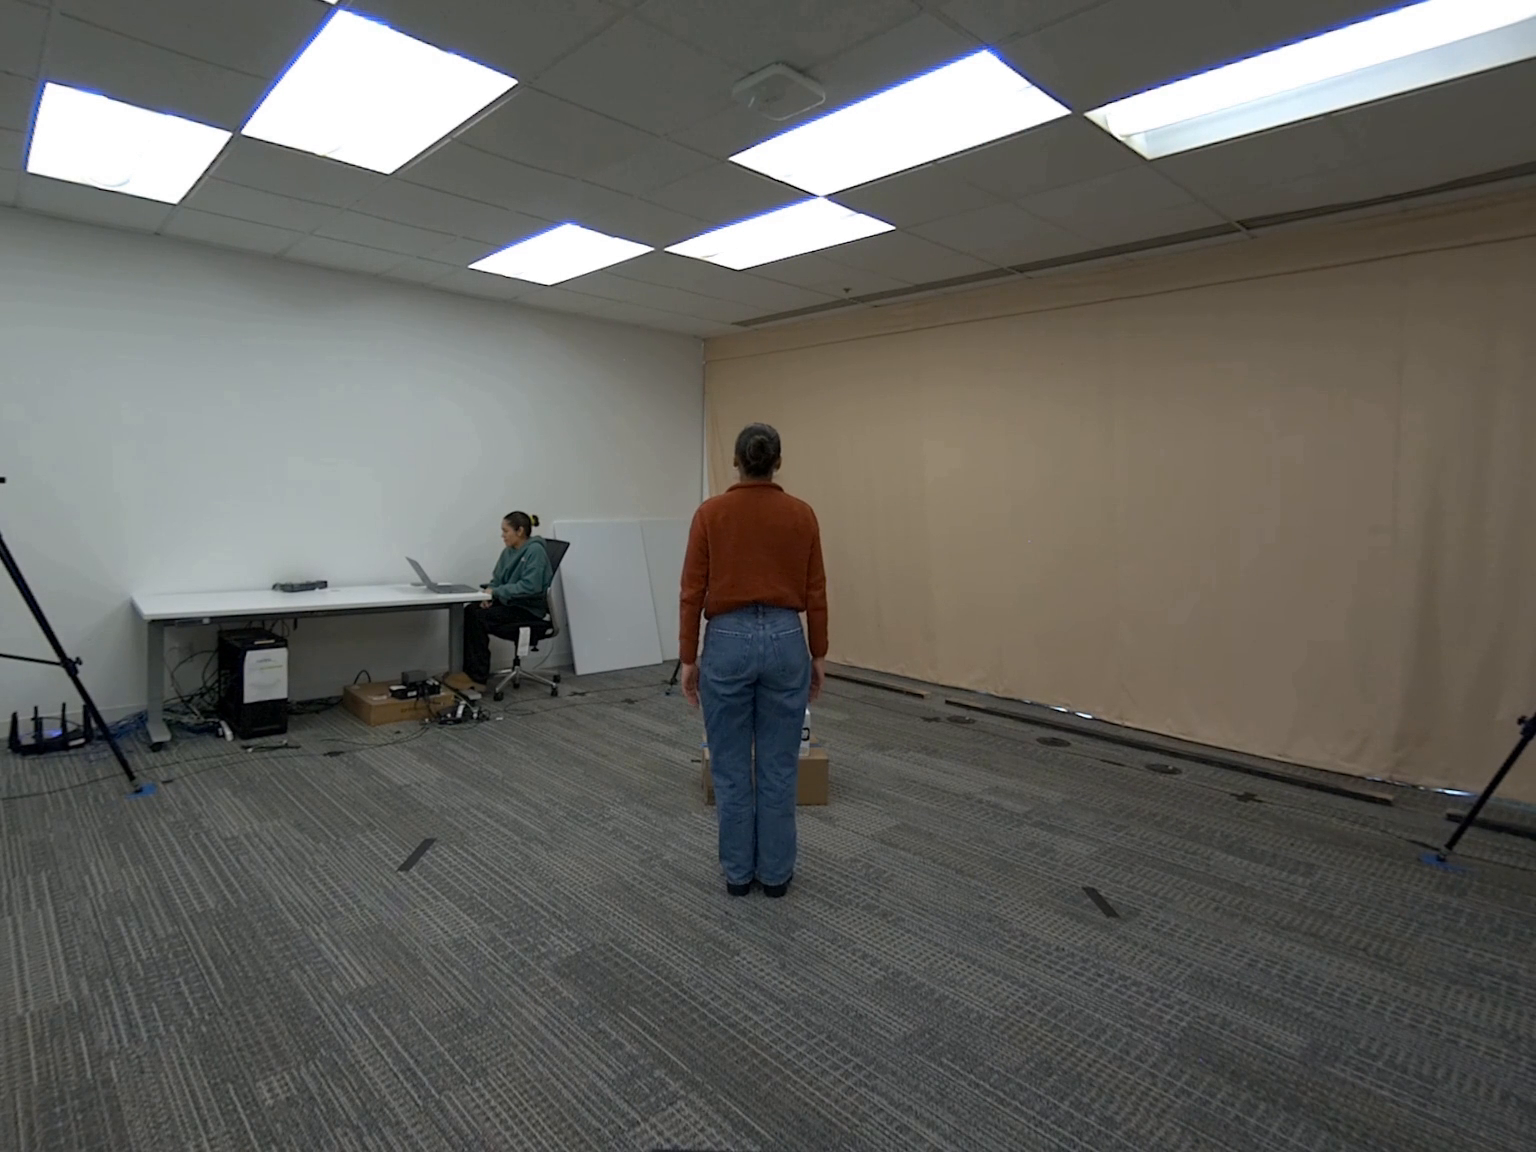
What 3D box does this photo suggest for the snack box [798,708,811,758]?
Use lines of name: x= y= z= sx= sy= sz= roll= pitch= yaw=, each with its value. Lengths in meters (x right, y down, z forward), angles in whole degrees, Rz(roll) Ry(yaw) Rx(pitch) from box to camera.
snack box: x=-0.032 y=0.710 z=4.009 sx=0.403 sy=0.205 sz=0.343 roll=1 pitch=5 yaw=-6
